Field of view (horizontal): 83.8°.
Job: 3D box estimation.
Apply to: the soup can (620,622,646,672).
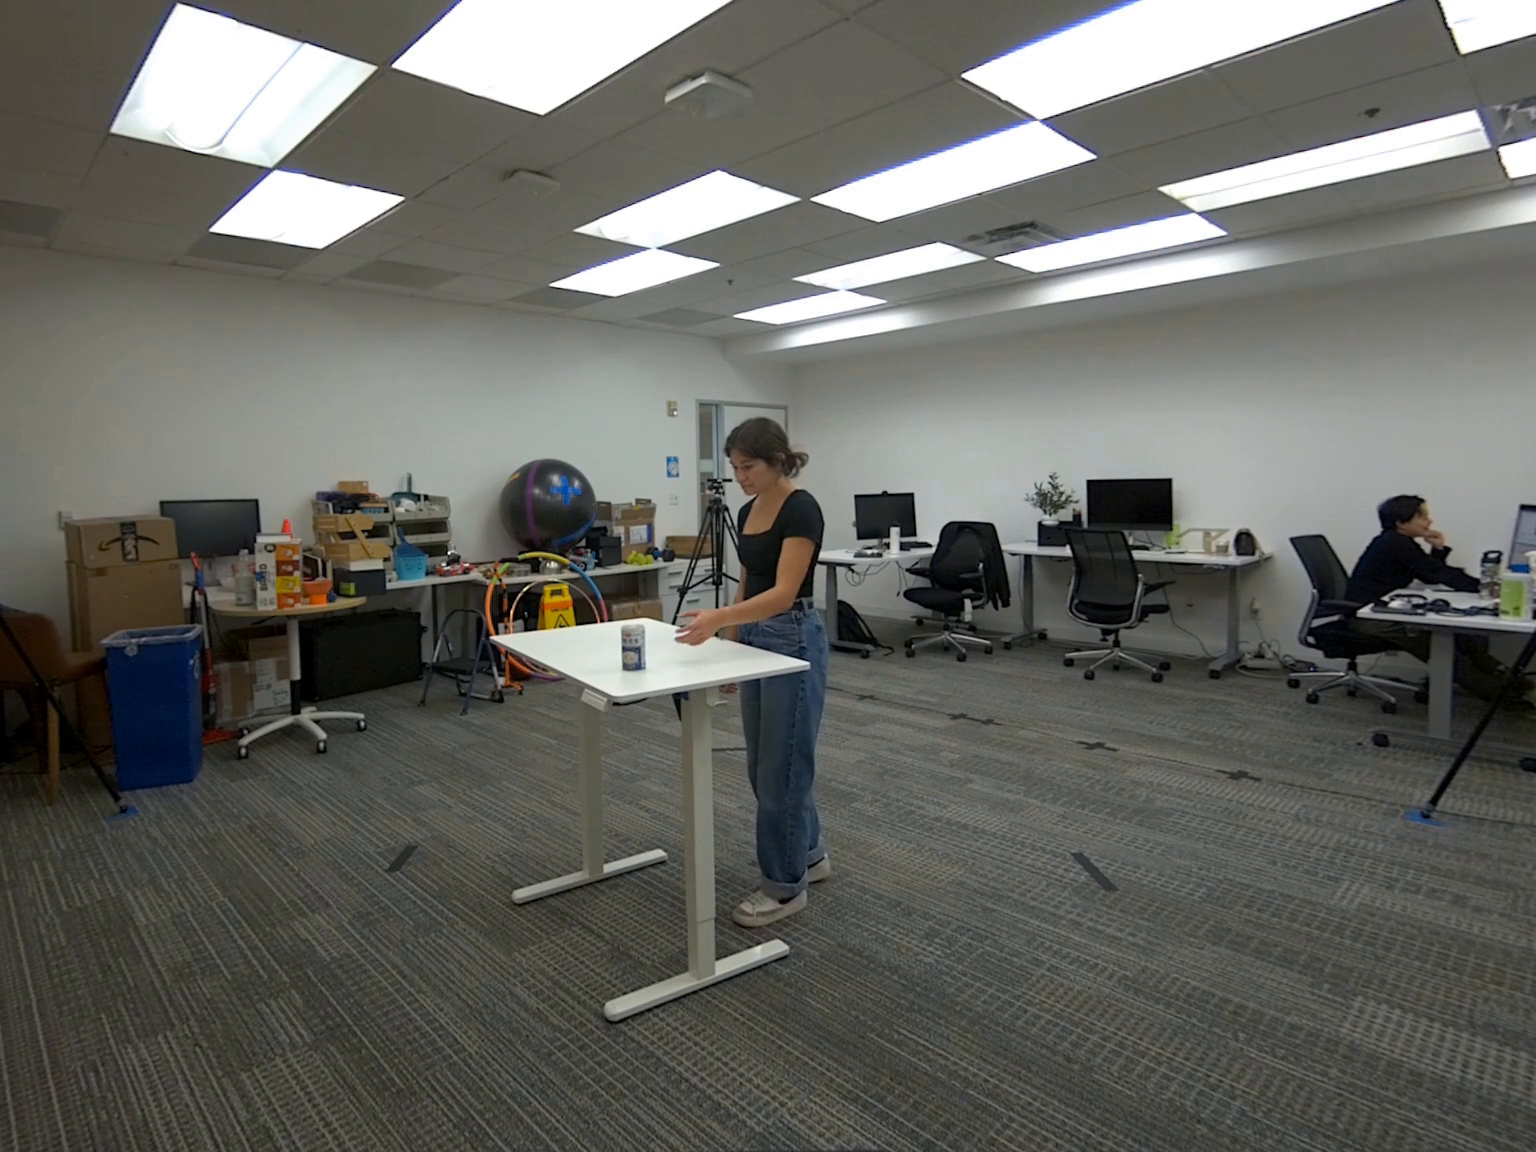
[{"bbox_3d":[-0.362,0.200,2.345,0.067,0.121,0.067,-1,6,-2],"label":"soup can"}]
